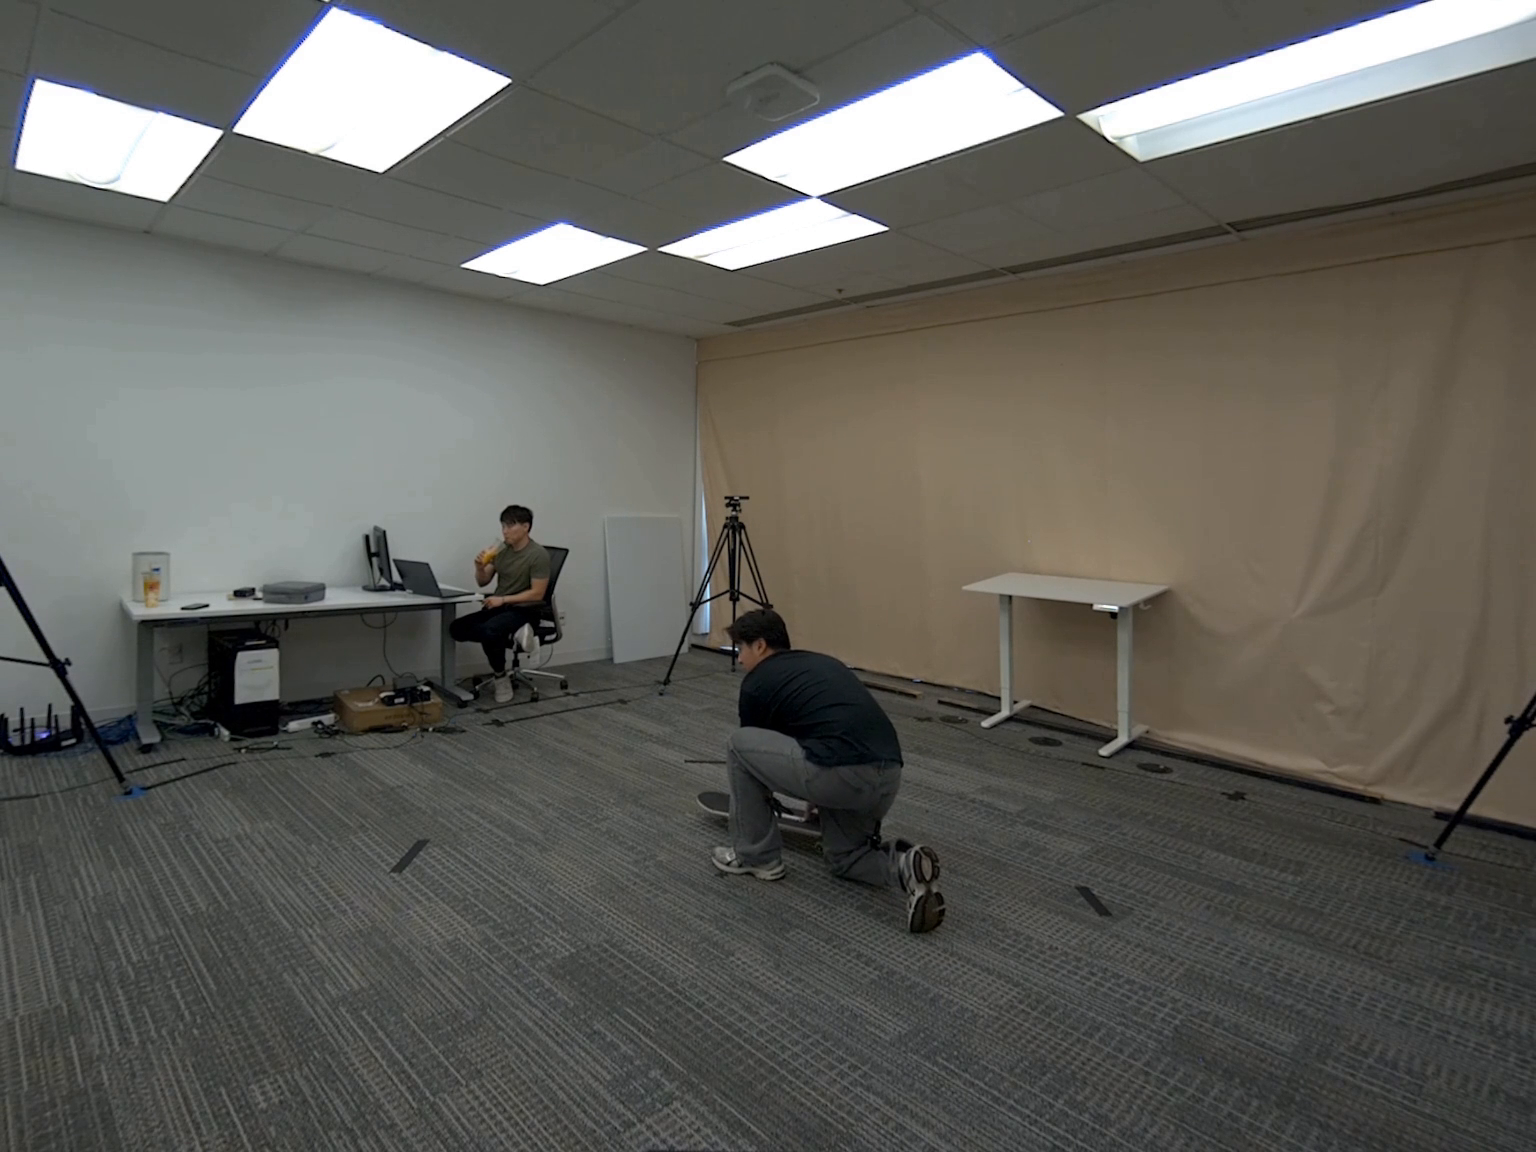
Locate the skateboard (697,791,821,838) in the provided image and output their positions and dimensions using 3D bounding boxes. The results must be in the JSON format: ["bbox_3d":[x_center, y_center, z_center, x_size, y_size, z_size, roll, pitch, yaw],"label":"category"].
[{"bbox_3d":[0.052,1.017,3.472,0.801,0.110,0.190,4,5,27],"label":"skateboard"}]
